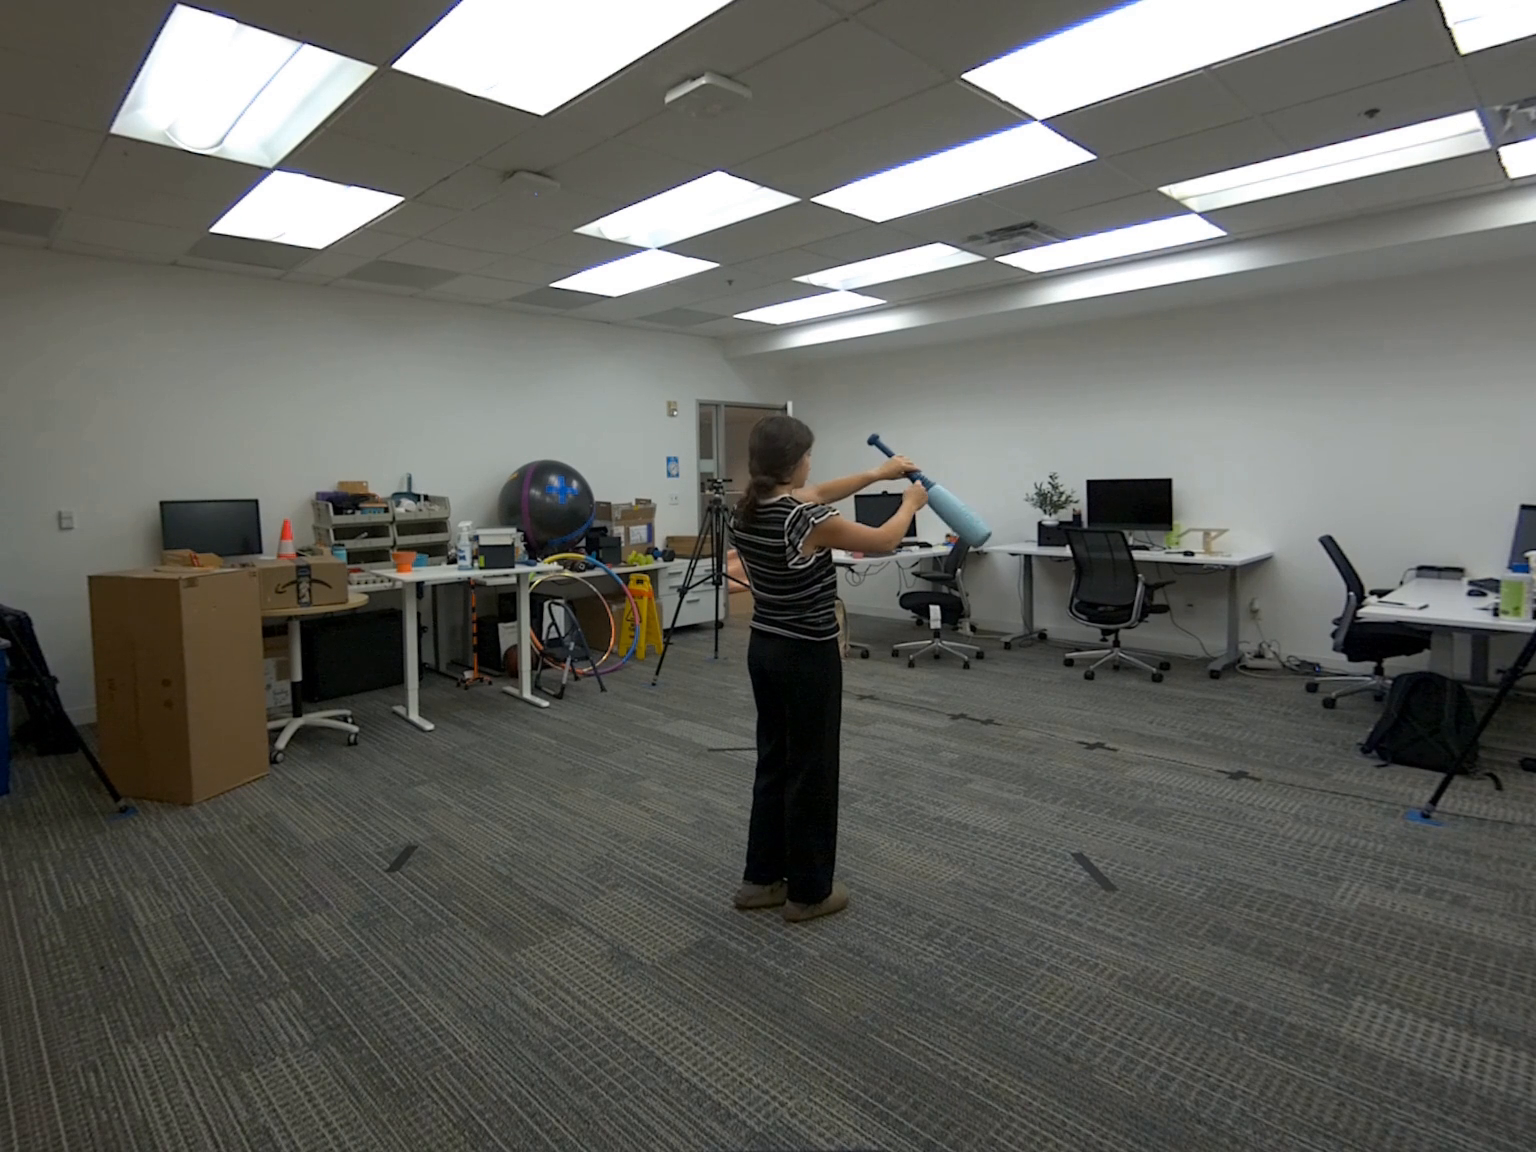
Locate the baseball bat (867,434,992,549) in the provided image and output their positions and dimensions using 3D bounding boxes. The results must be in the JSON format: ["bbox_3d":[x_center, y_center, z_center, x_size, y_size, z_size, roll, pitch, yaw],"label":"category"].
[{"bbox_3d":[0.532,-0.304,2.938,0.557,0.089,0.087,46,24,20],"label":"baseball bat"}]
